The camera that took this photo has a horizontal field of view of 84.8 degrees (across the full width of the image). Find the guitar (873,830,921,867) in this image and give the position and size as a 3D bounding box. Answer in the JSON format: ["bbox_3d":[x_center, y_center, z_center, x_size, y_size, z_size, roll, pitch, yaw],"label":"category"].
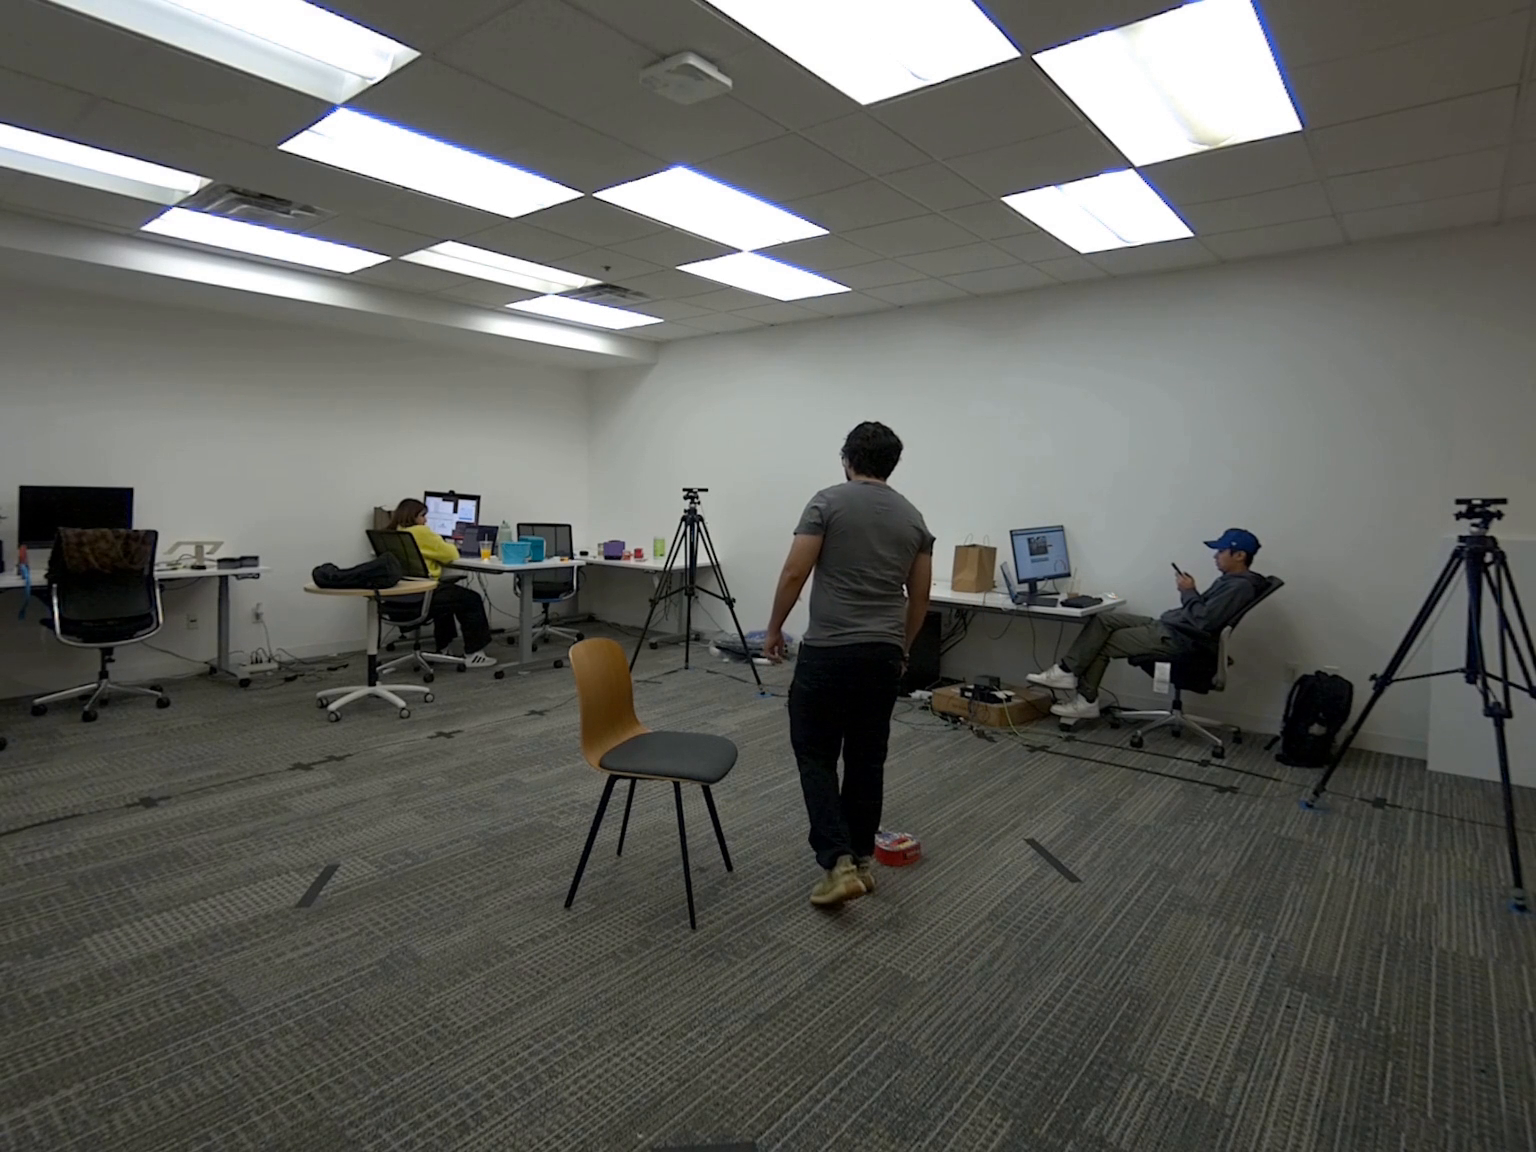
[{"bbox_3d":[0.387,1.018,3.408,0.188,0.070,0.514,-3,7,-32],"label":"guitar"}]
